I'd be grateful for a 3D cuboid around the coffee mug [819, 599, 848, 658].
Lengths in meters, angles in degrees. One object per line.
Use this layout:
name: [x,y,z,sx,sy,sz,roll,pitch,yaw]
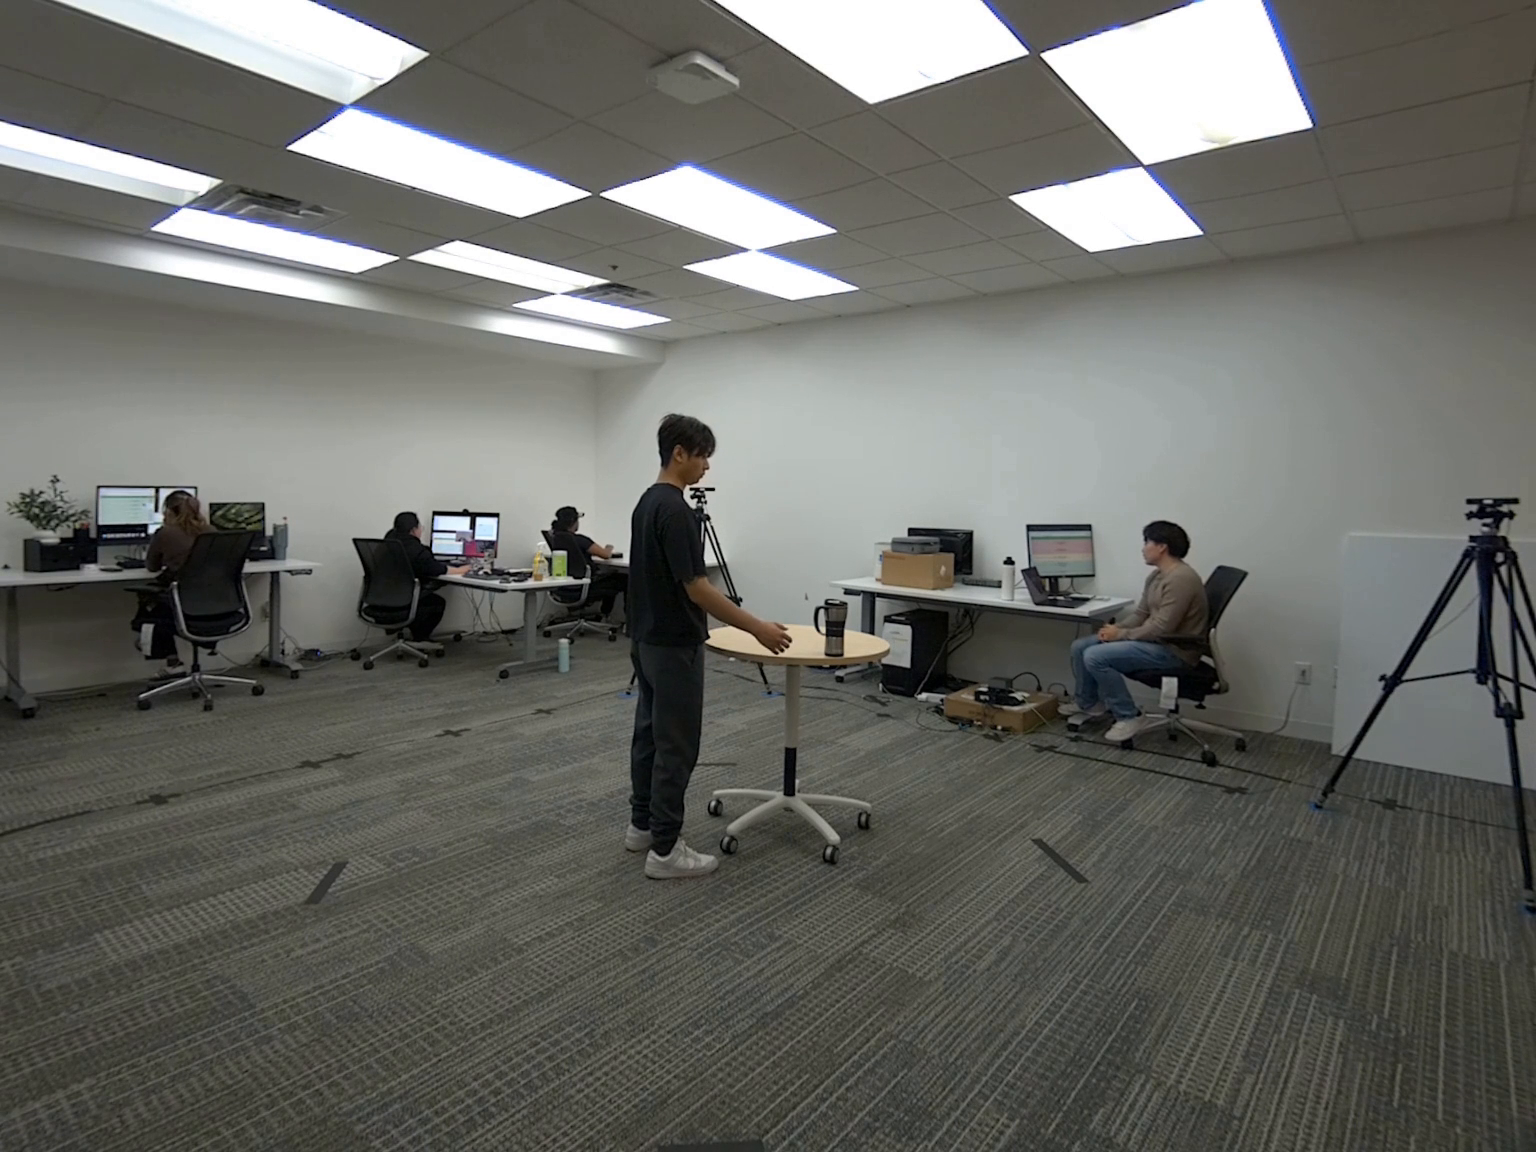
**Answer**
coffee mug: [0.224,0.192,3.151,0.126,0.201,0.085,8,10,36]
